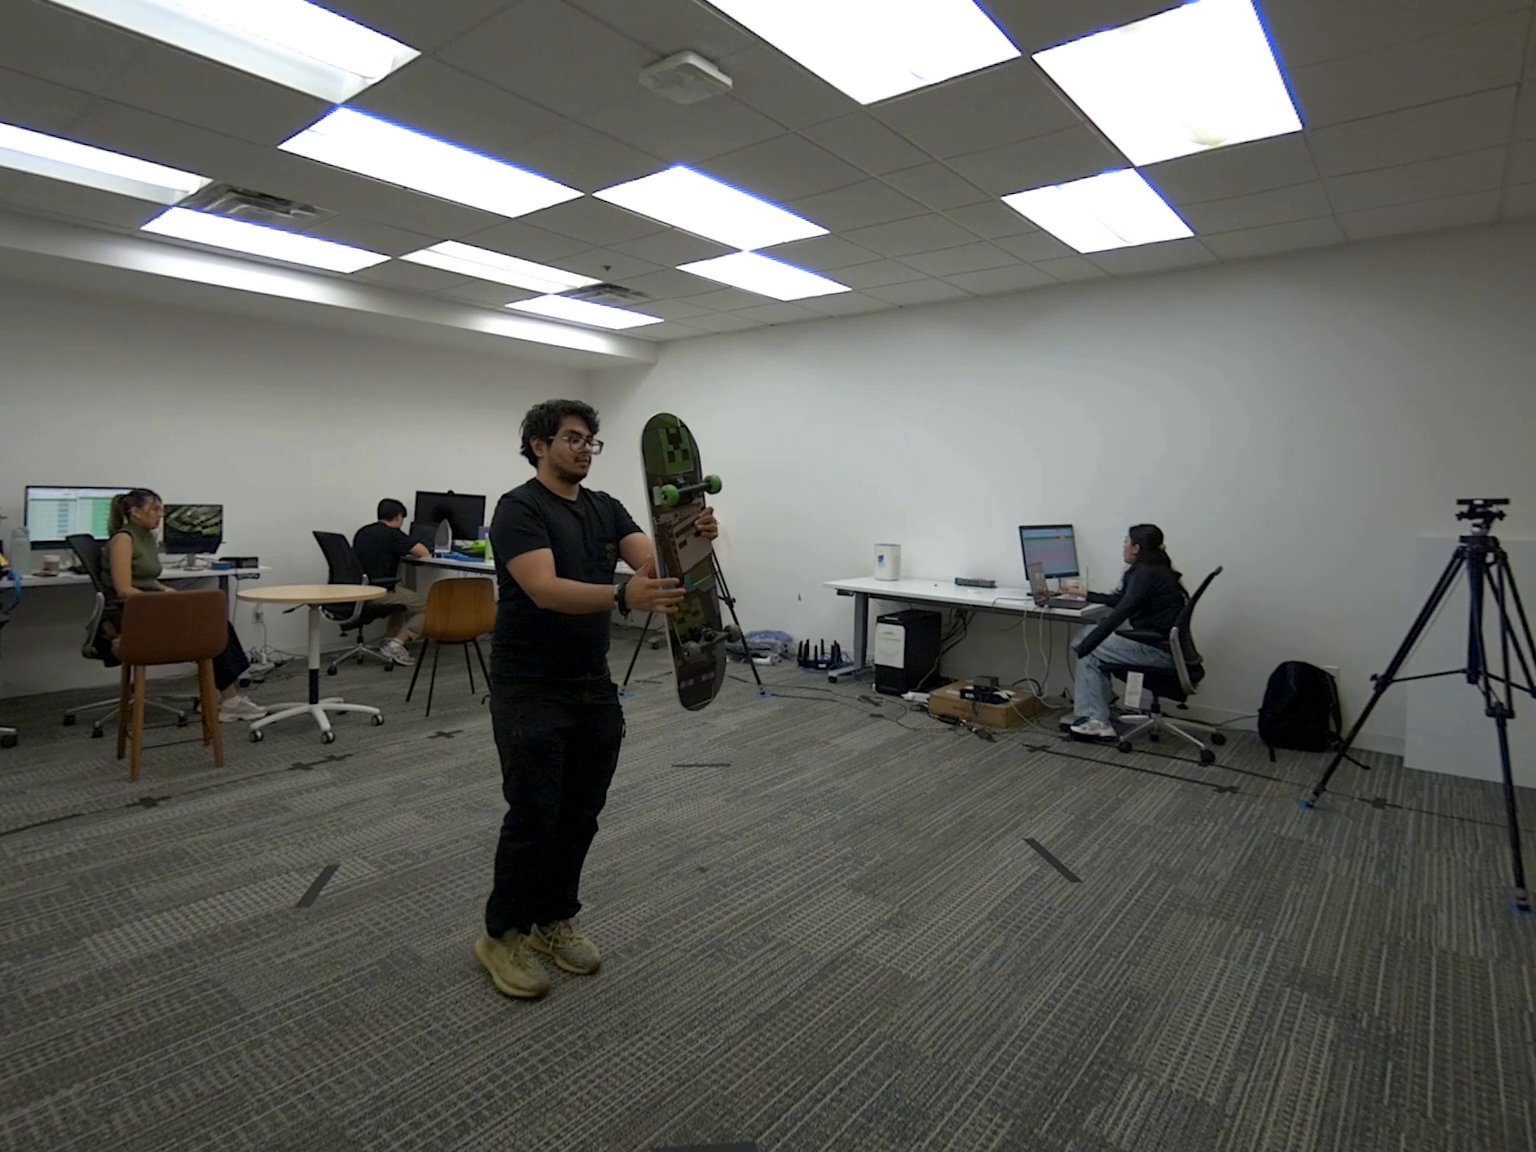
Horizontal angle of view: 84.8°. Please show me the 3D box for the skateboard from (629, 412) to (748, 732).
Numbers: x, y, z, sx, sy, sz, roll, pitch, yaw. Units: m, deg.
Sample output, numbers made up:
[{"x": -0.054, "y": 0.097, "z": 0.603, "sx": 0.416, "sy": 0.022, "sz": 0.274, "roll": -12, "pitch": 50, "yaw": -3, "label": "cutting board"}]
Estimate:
[{"x": -0.199, "y": -0.015, "z": 2.166, "sx": 0.189, "sy": 0.775, "sz": 0.114, "roll": -17, "pitch": 16, "yaw": -42, "label": "skateboard"}]
